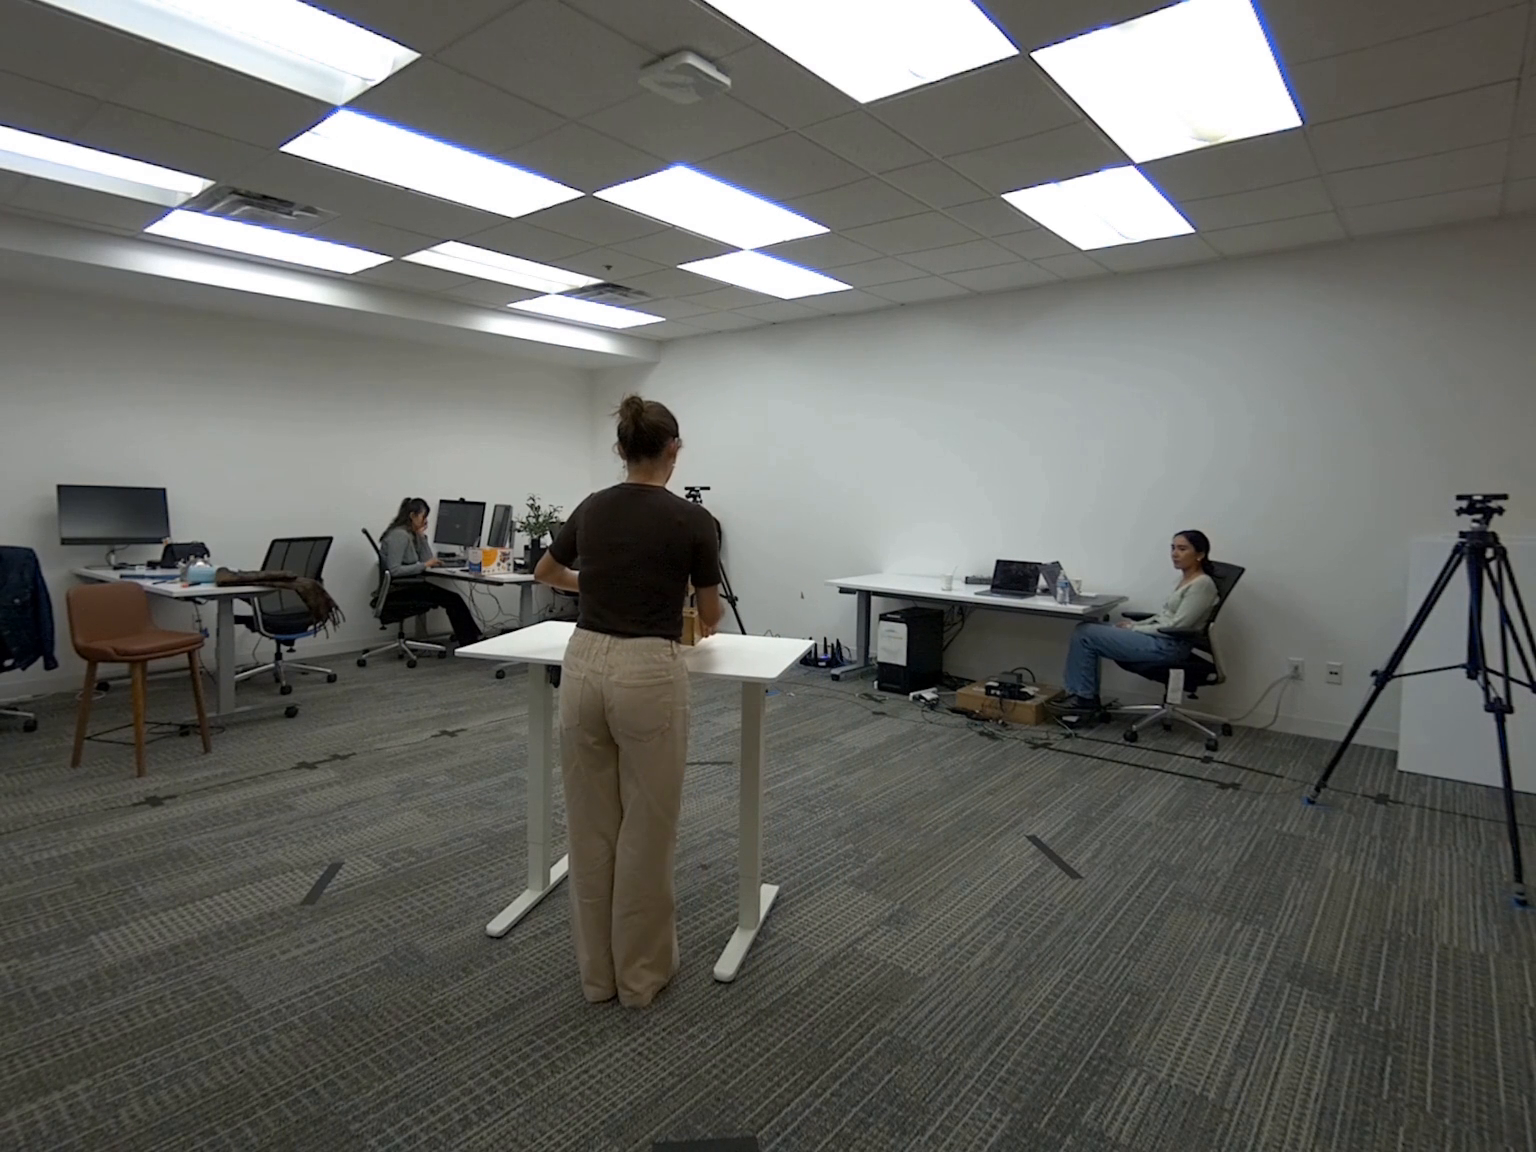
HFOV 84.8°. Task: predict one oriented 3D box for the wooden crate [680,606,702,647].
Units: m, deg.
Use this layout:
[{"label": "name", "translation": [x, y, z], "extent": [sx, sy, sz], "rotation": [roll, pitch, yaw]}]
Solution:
[{"label": "wooden crate", "translation": [-0.351, 0.049, 2.654], "extent": [0.330, 0.270, 0.300], "rotation": [3, 13, 15]}]
